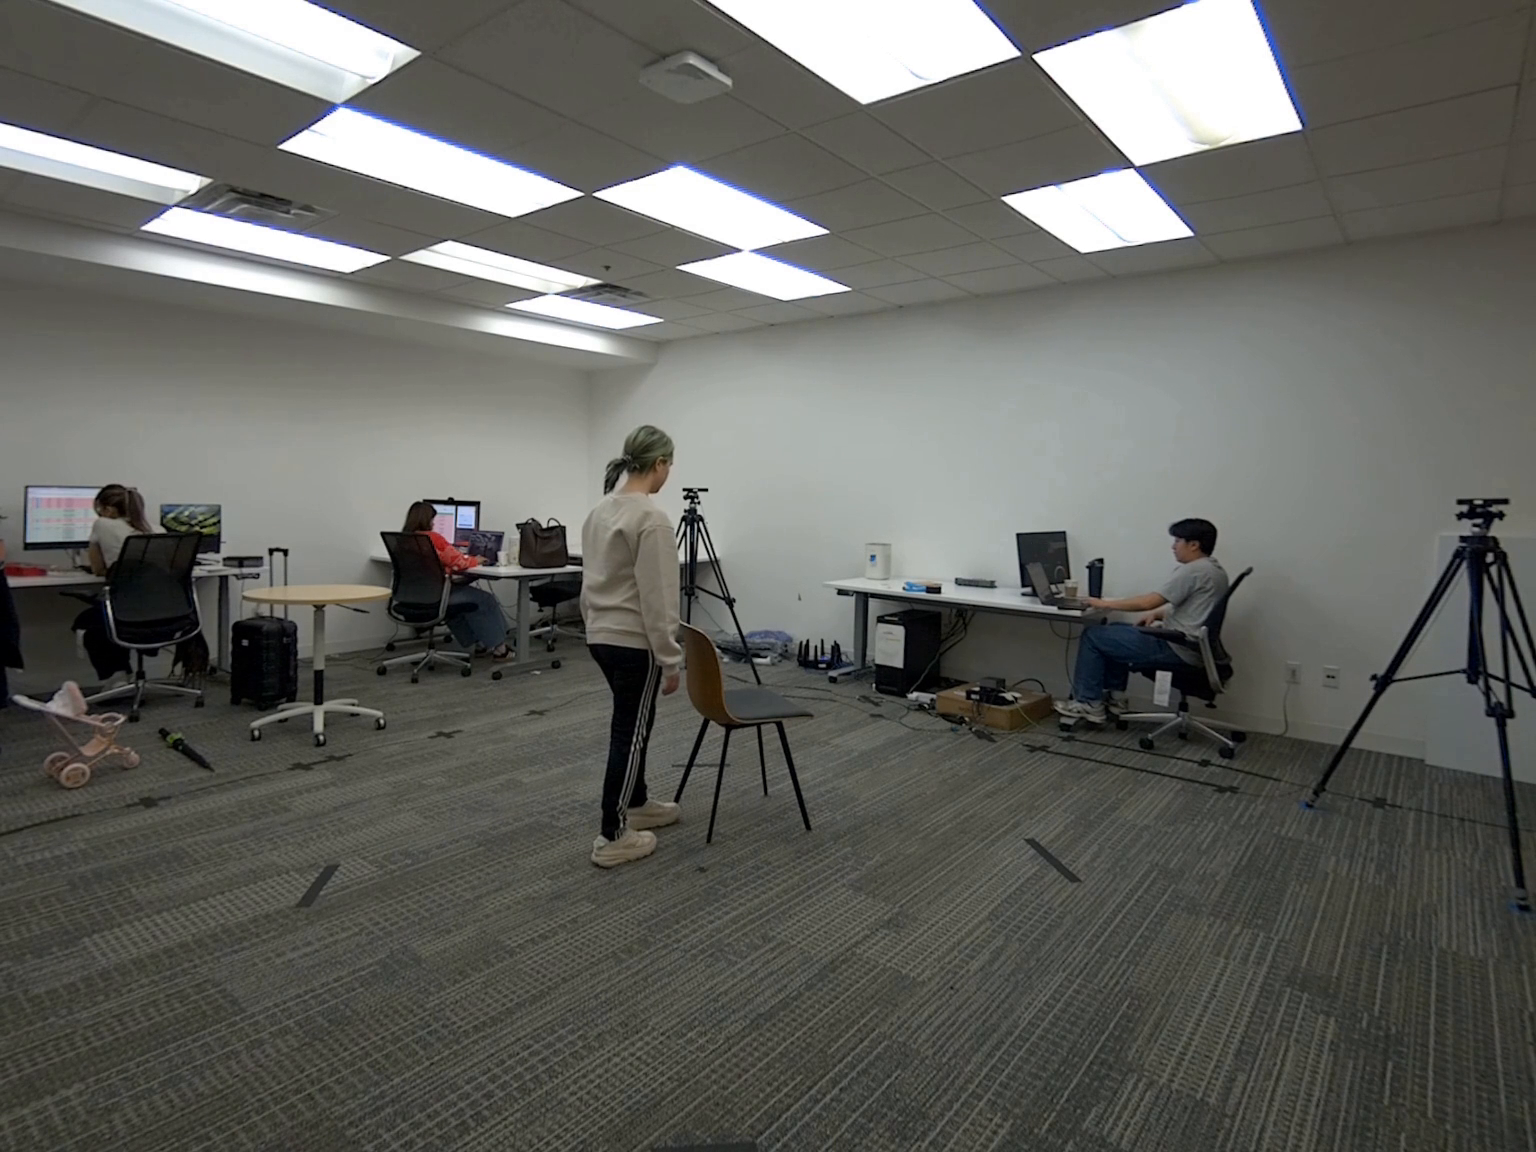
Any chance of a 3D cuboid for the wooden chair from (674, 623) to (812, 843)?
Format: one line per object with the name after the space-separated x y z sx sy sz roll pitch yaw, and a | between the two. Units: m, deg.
-0.113 0.599 3.593 0.513 0.874 0.490 -4 4 -22 | wooden chair
